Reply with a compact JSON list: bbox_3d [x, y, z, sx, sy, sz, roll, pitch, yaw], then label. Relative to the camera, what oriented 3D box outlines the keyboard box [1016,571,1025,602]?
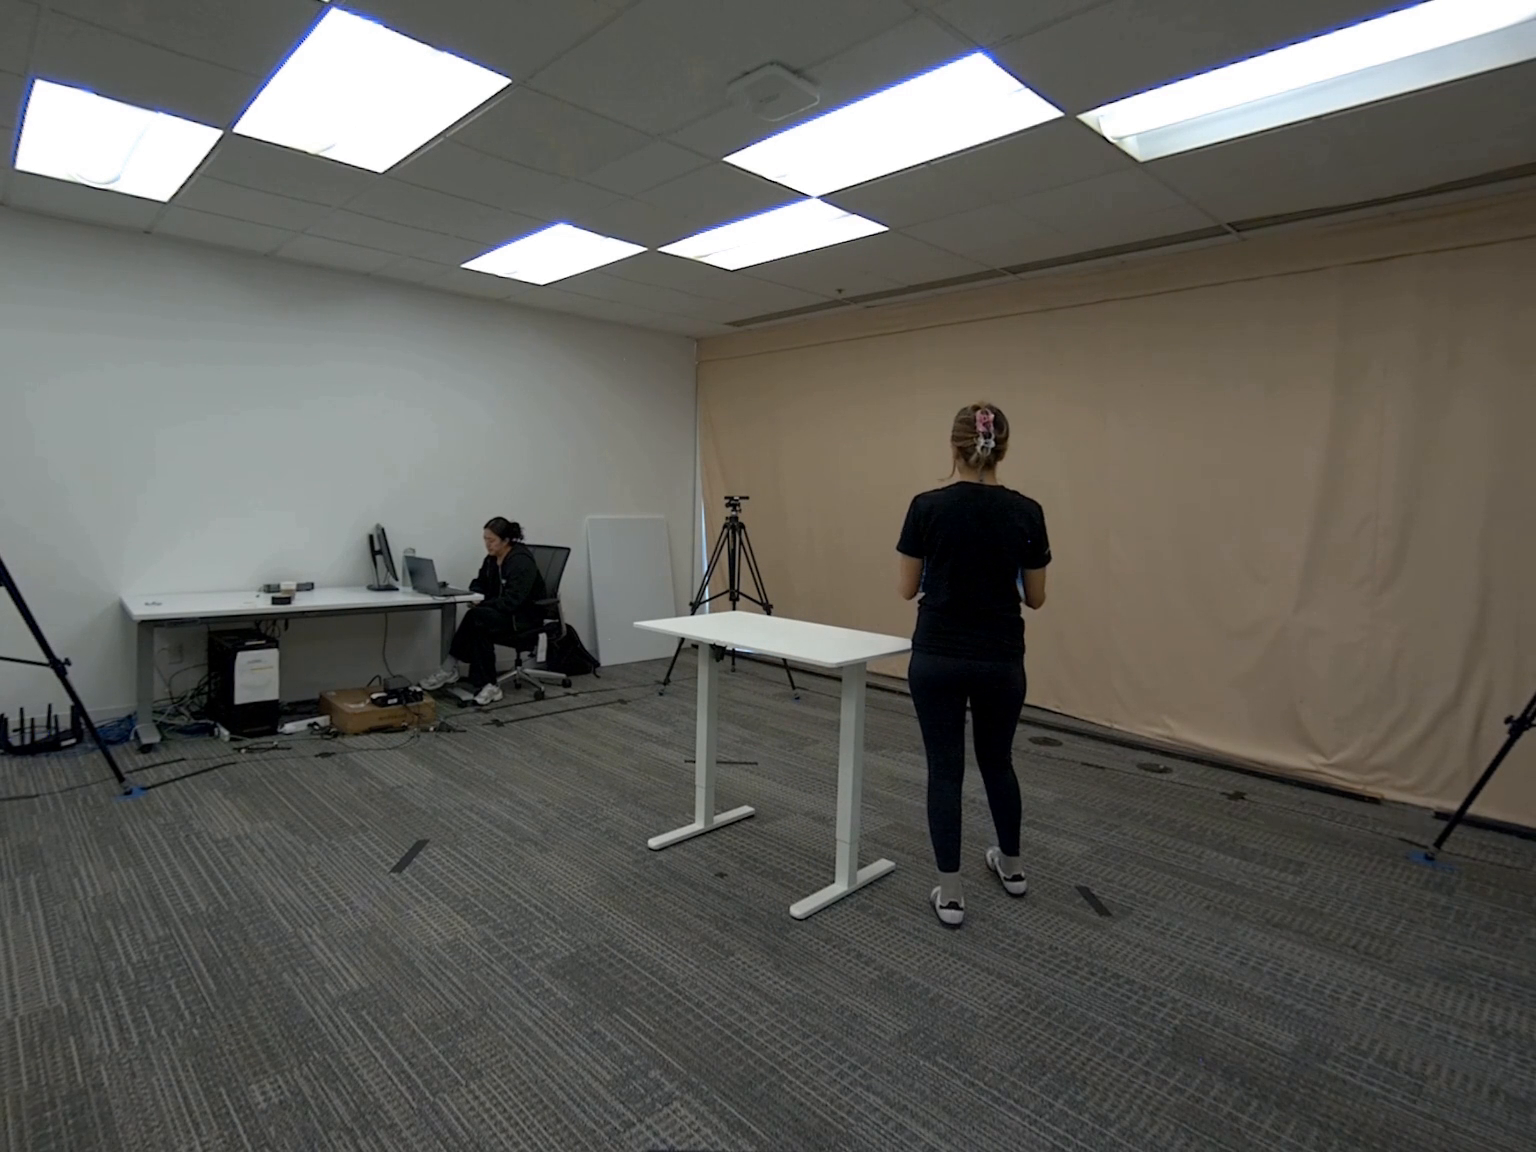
[{"bbox_3d":[0.761,-0.020,3.178,0.440,0.176,0.059,2,2,9],"label":"keyboard box"}]
